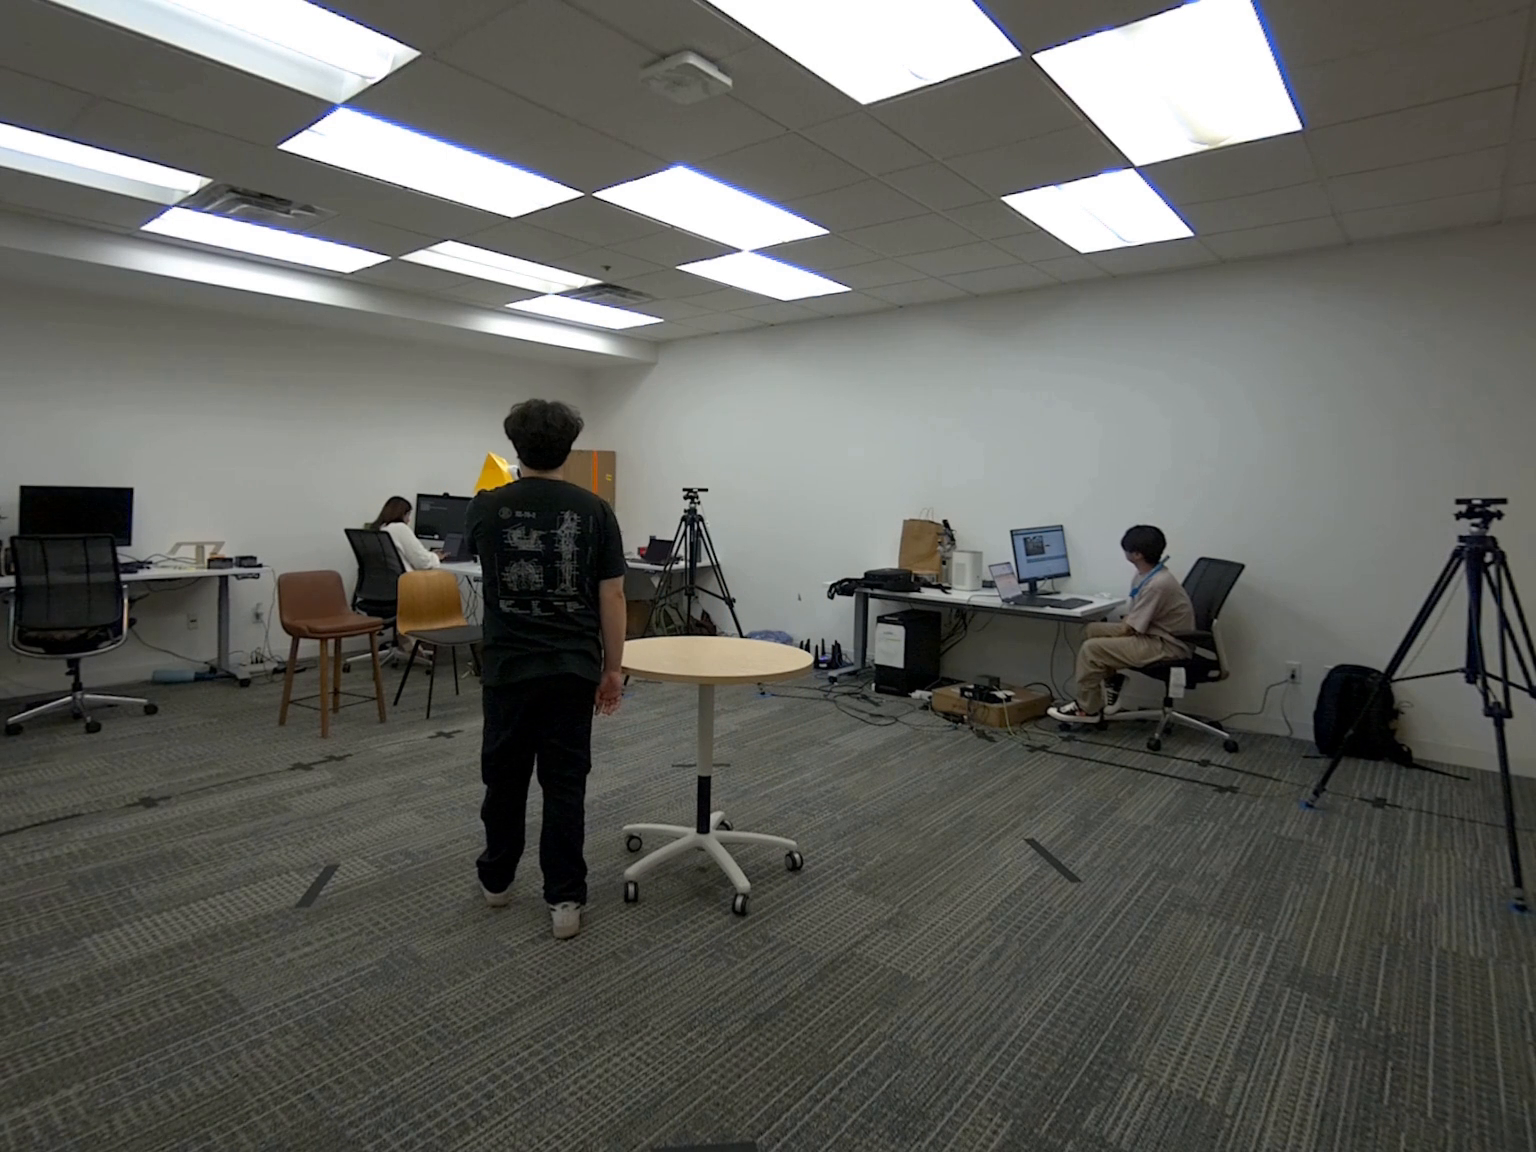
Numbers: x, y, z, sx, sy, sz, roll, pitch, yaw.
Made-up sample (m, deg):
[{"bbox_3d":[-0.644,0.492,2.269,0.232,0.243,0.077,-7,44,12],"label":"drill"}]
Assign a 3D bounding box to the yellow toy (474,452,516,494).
[{"bbox_3d":[-1.027,-0.379,3.290,0.211,0.228,0.190,0,15,34],"label":"yellow toy"}]
